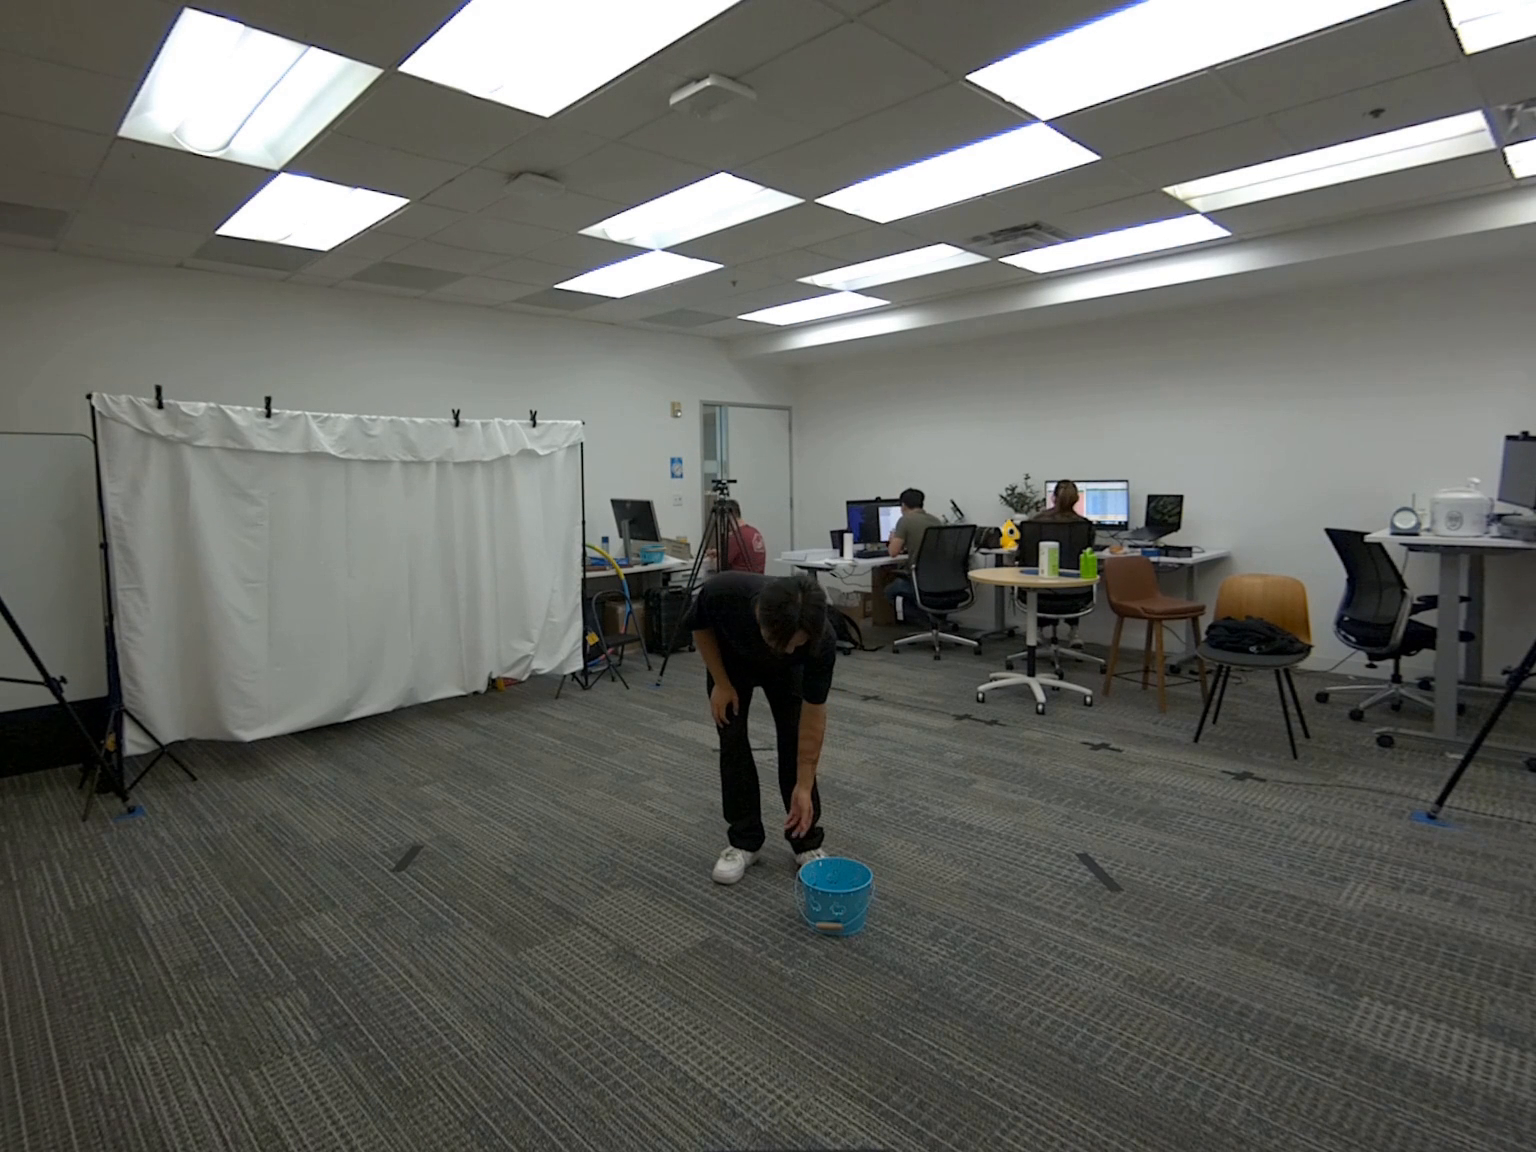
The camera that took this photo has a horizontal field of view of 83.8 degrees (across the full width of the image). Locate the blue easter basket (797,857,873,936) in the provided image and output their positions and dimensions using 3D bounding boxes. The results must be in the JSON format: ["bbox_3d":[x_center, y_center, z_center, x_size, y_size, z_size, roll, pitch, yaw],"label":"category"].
[{"bbox_3d":[0.212,1.017,2.696,0.243,0.155,0.245,-2,6,-2],"label":"blue easter basket"}]
